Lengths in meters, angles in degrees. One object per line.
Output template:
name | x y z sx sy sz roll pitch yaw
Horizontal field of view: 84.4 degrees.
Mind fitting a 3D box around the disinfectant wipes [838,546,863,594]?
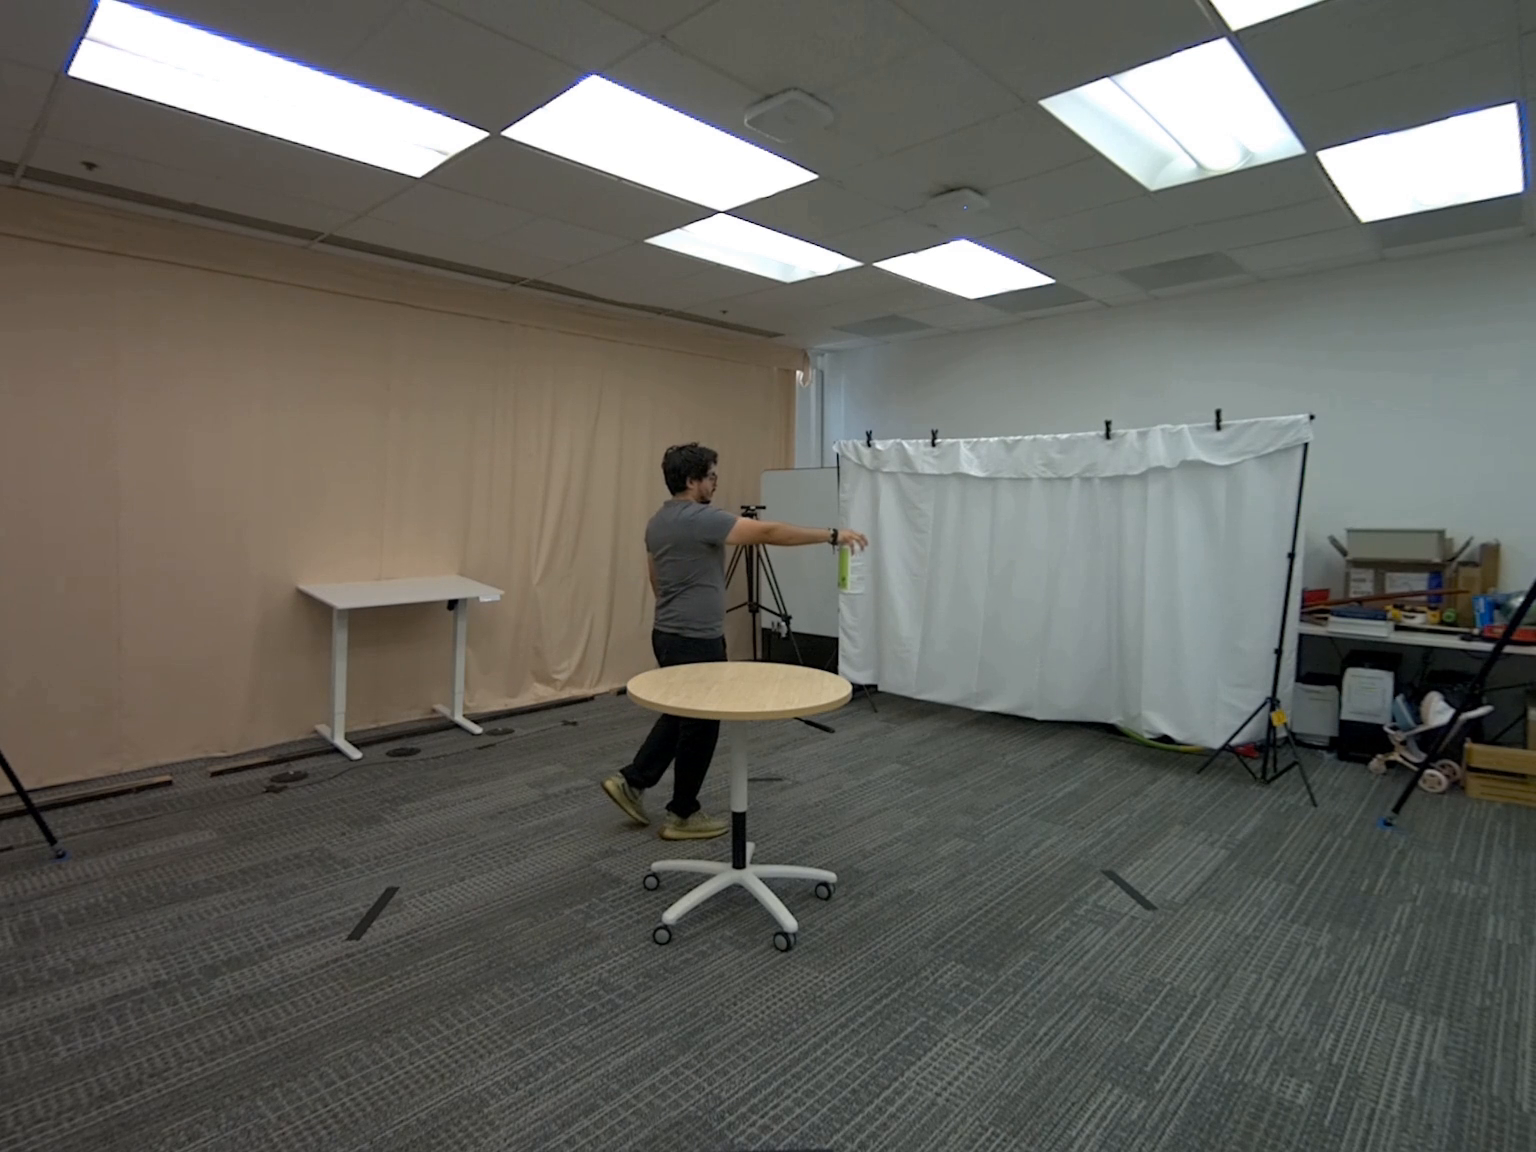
disinfectant wipes | 0.348 -0.033 3.426 0.118 0.217 0.118 0 3 -2
